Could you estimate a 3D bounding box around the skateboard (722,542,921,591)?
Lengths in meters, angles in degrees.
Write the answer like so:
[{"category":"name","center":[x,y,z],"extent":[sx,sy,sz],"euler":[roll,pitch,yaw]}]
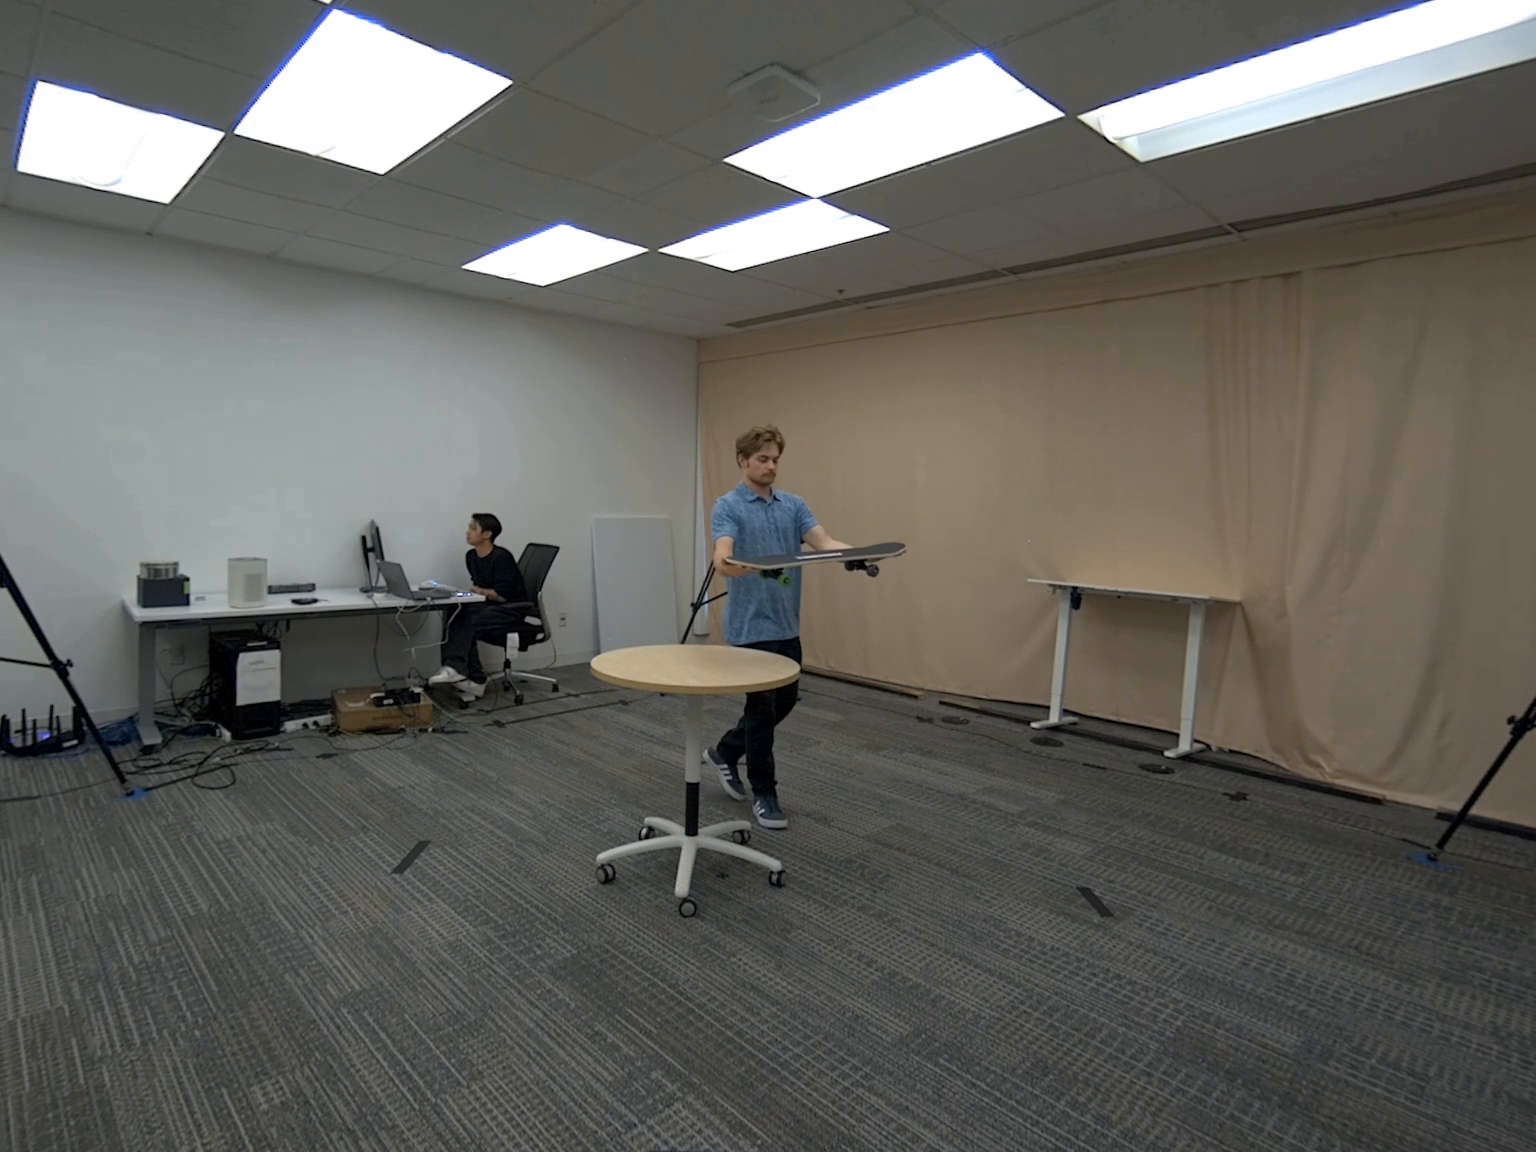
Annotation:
[{"category":"skateboard","center":[0.215,-0.035,3.252],"extent":[0.772,0.110,0.198],"euler":[-7,10,-28]}]
